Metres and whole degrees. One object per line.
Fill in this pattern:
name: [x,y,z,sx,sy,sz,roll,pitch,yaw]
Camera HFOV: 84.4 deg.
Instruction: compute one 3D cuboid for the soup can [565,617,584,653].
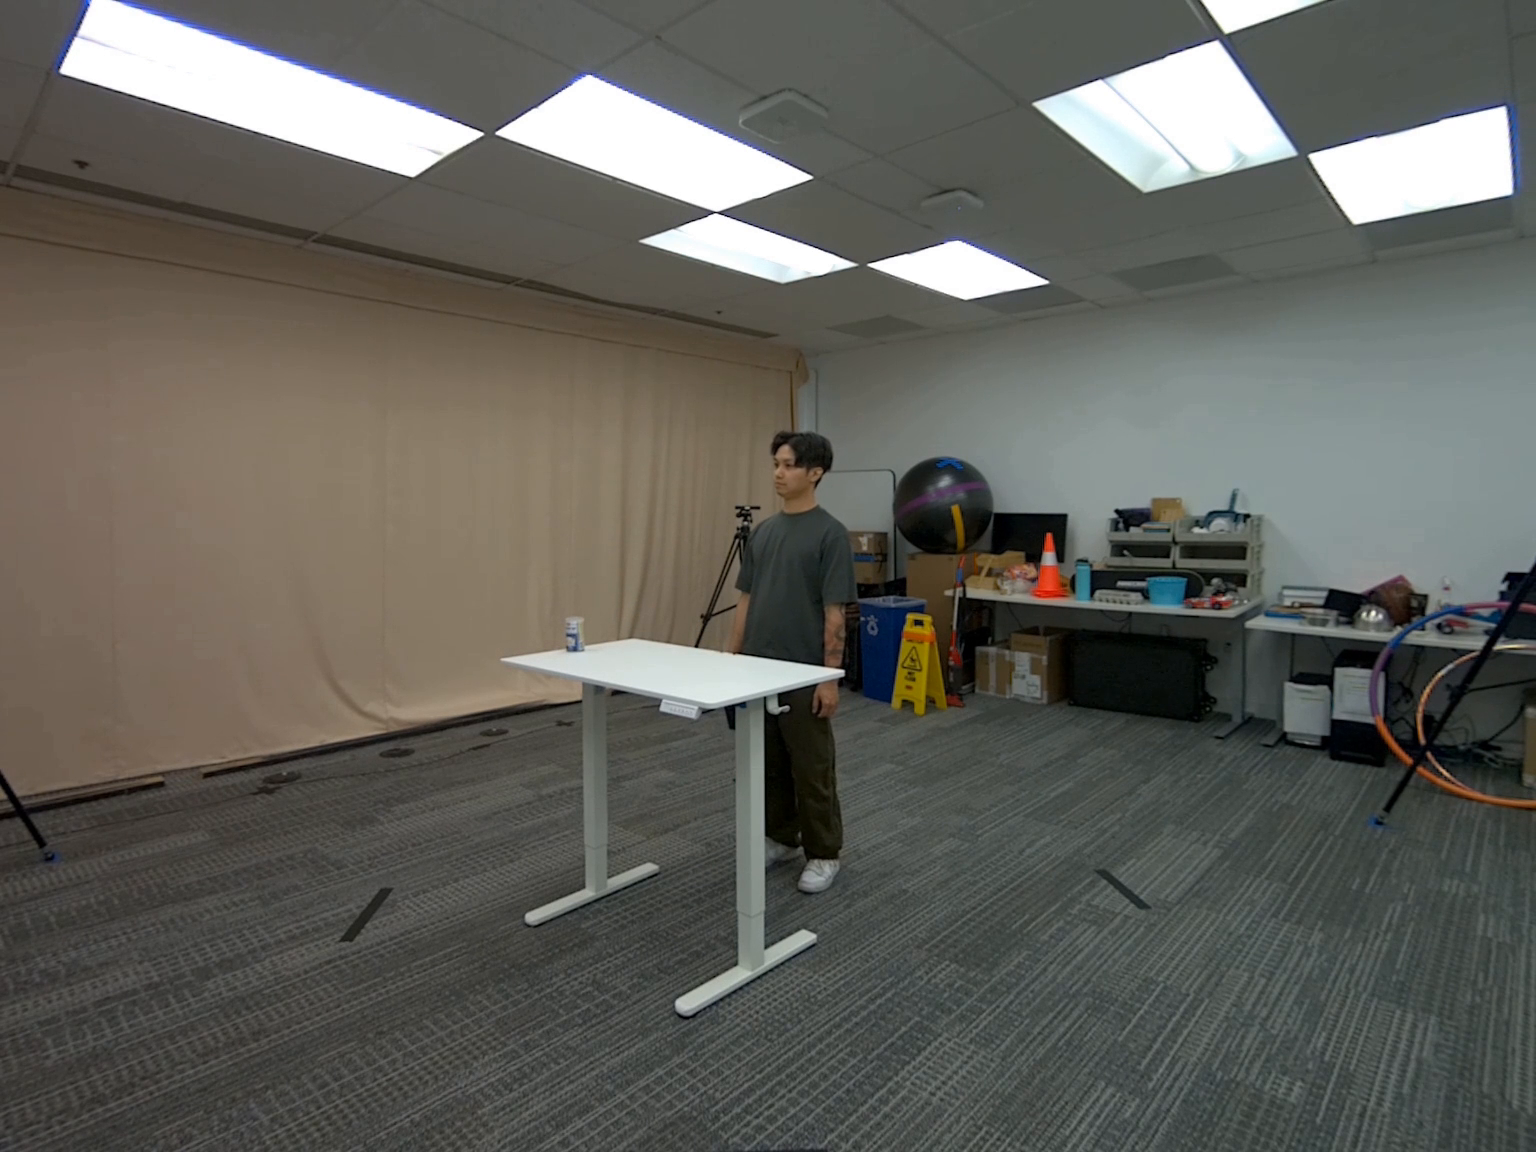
soup can: [-0.687,0.213,3.008,0.067,0.121,0.067,-1,6,-2]
